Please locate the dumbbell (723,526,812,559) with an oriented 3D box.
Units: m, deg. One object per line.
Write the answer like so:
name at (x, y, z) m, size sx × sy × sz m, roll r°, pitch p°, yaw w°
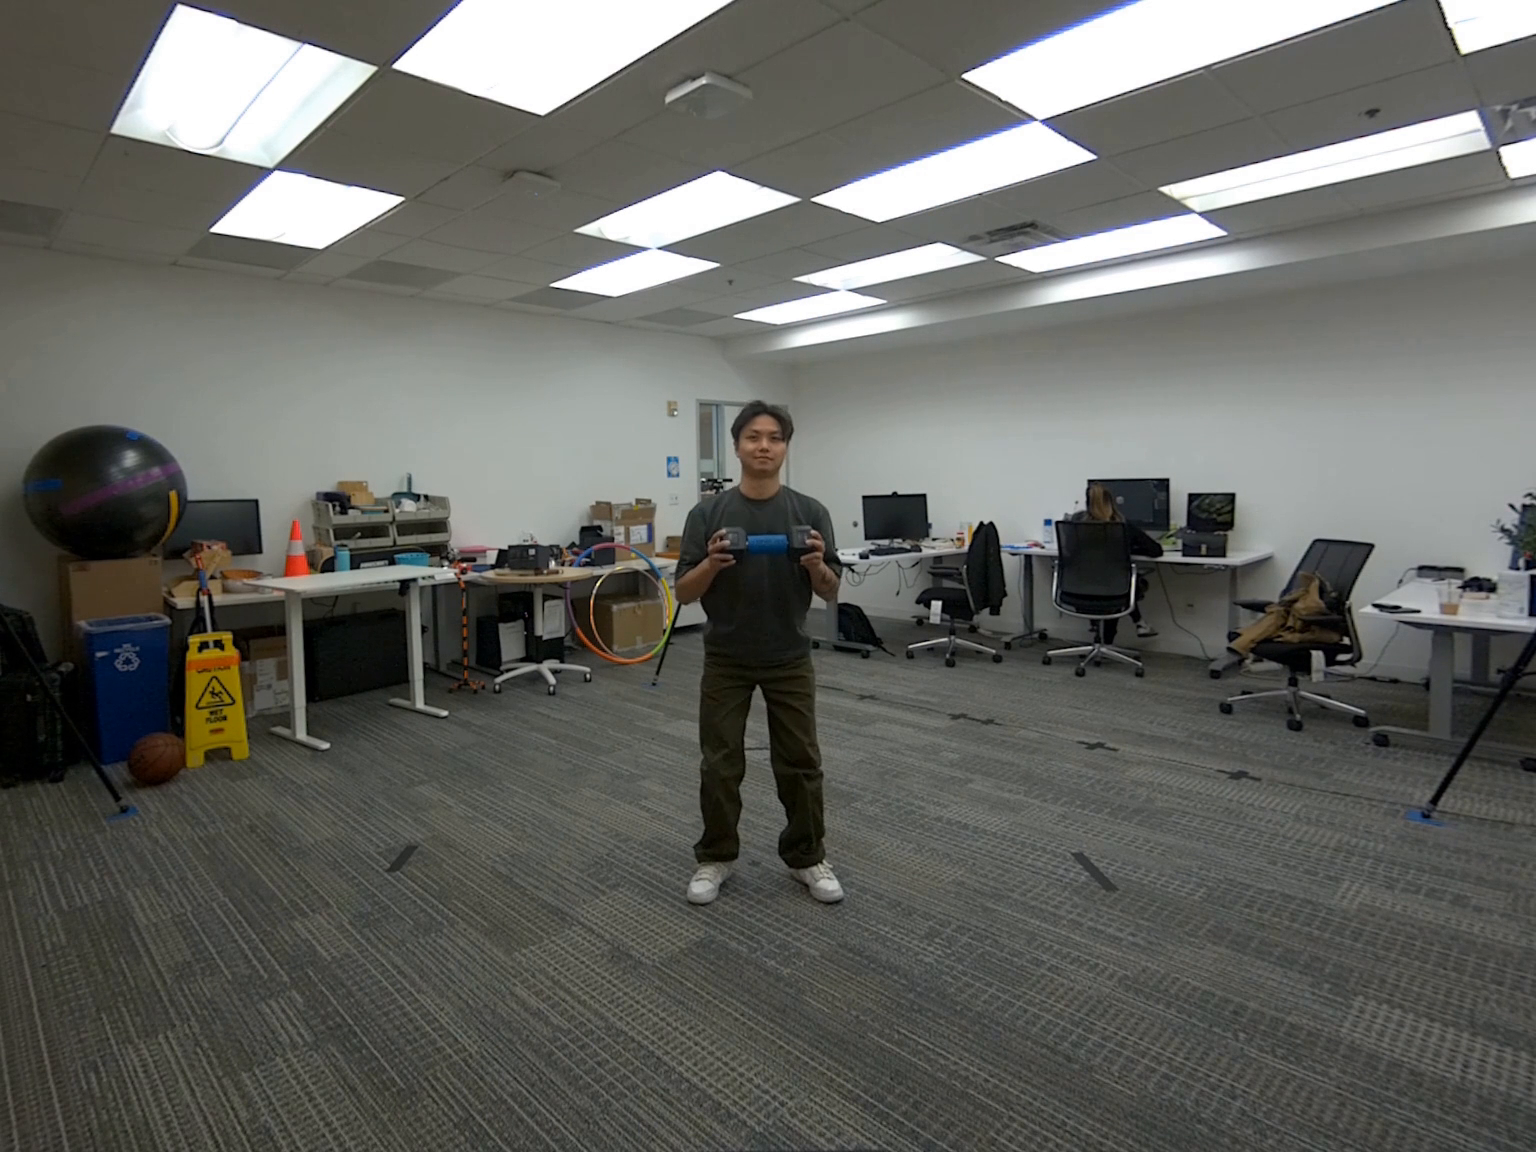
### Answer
dumbbell at (-0.024, -0.085, 2.650) m, size 0.293 × 0.119 × 0.112 m, roll -4°, pitch 40°, yaw -3°
